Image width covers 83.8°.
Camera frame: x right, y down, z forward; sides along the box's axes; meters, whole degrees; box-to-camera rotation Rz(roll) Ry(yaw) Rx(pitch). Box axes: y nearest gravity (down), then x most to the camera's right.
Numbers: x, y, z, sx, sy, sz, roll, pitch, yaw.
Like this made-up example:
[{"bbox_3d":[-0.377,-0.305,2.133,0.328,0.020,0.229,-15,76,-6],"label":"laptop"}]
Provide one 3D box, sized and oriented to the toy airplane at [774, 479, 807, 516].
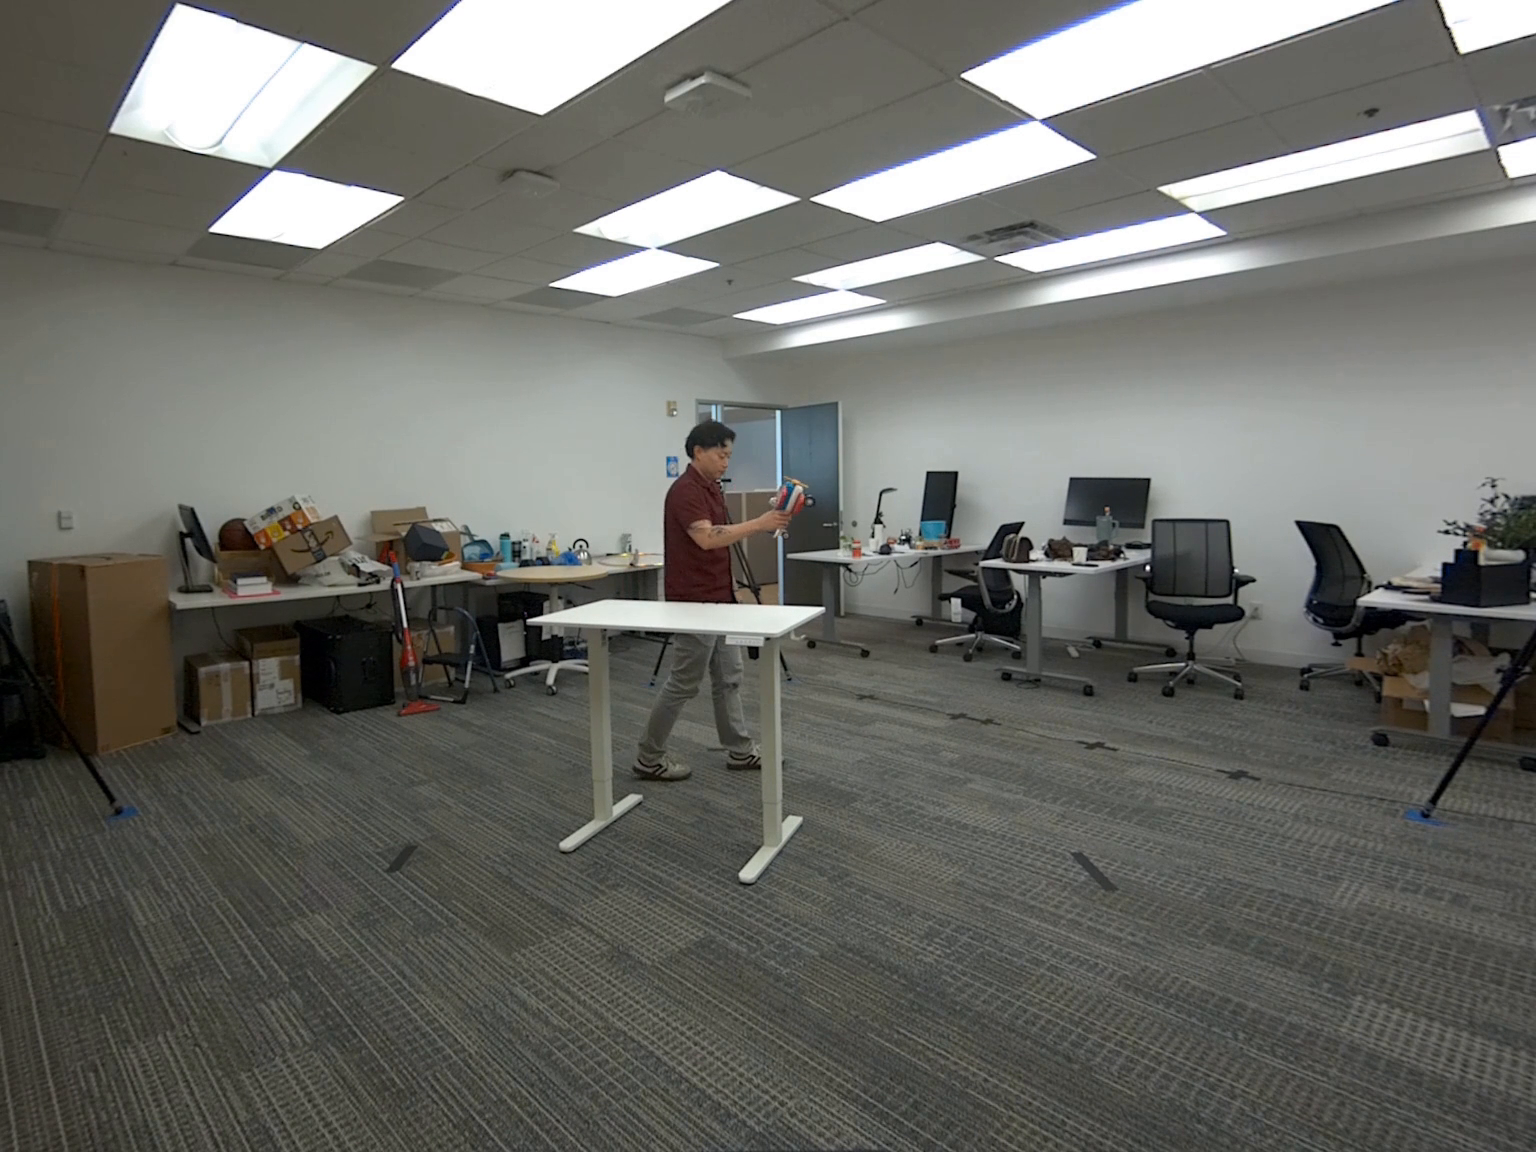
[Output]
[{"bbox_3d":[0.090,-0.291,3.661,0.155,0.260,0.252,37,-20,-8],"label":"toy airplane"}]
